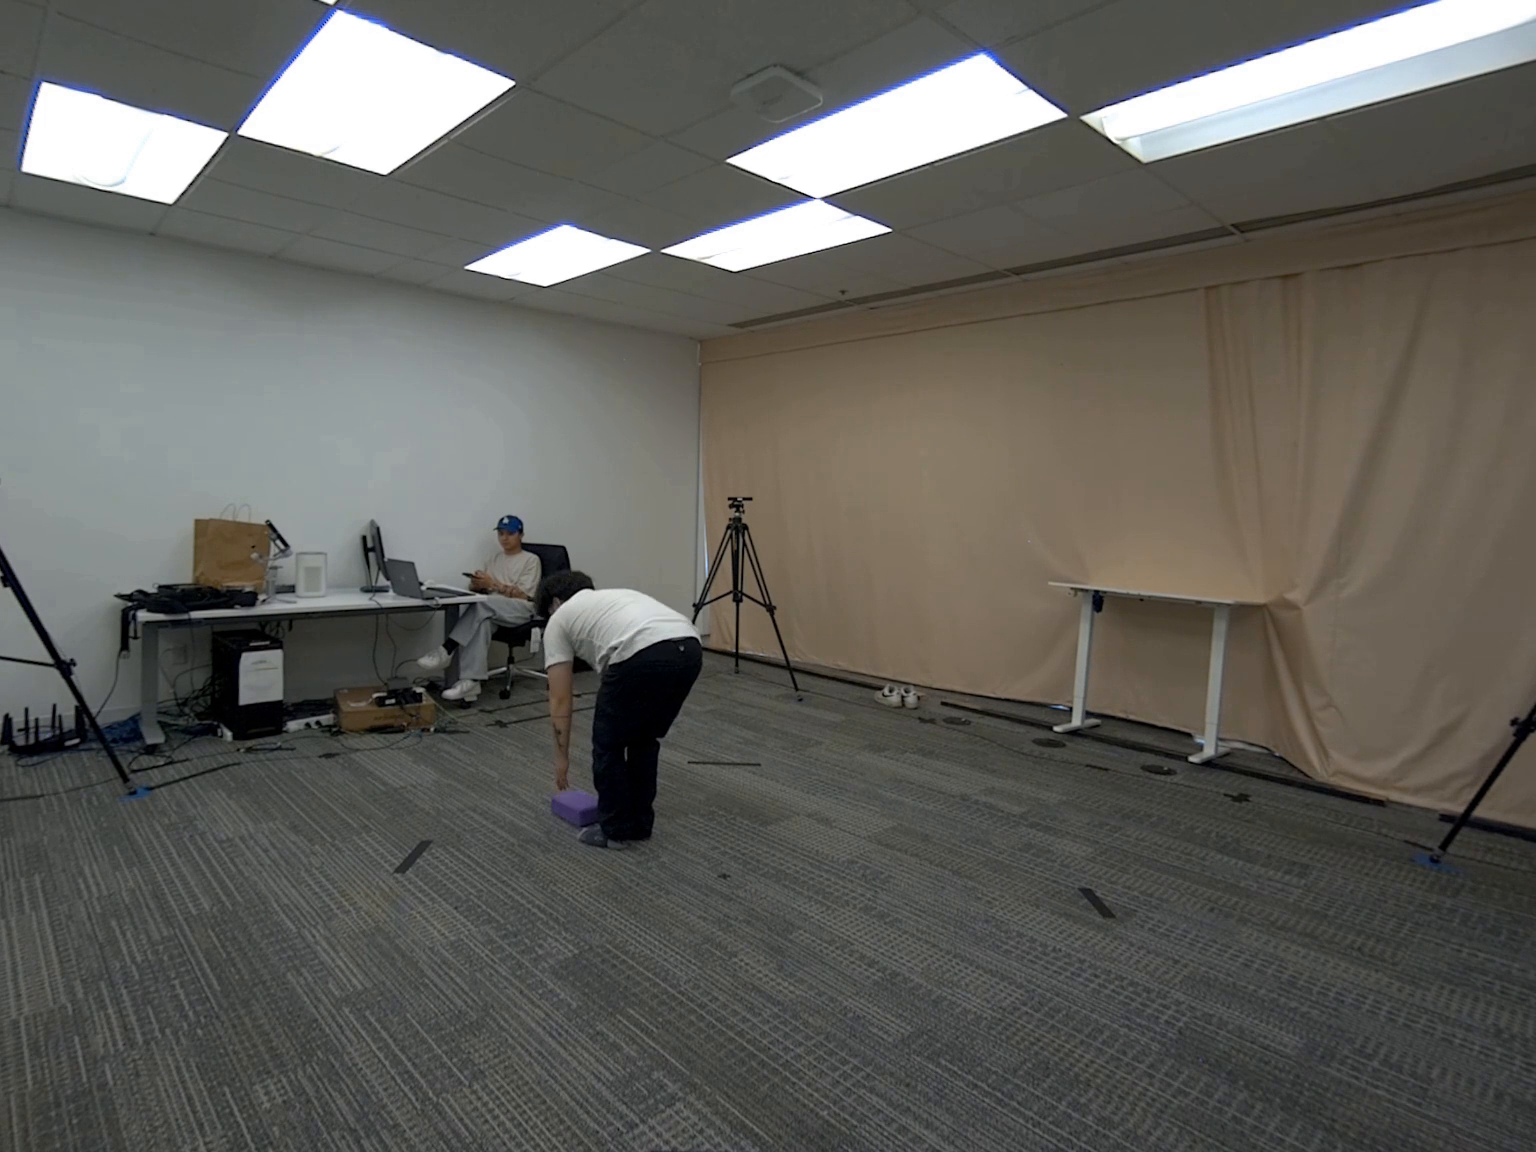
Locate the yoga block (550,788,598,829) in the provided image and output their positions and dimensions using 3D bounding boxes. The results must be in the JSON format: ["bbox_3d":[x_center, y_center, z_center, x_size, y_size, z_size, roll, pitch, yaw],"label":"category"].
[{"bbox_3d":[-0.815,0.996,3.641,0.235,0.076,0.146,5,7,44],"label":"yoga block"}]
